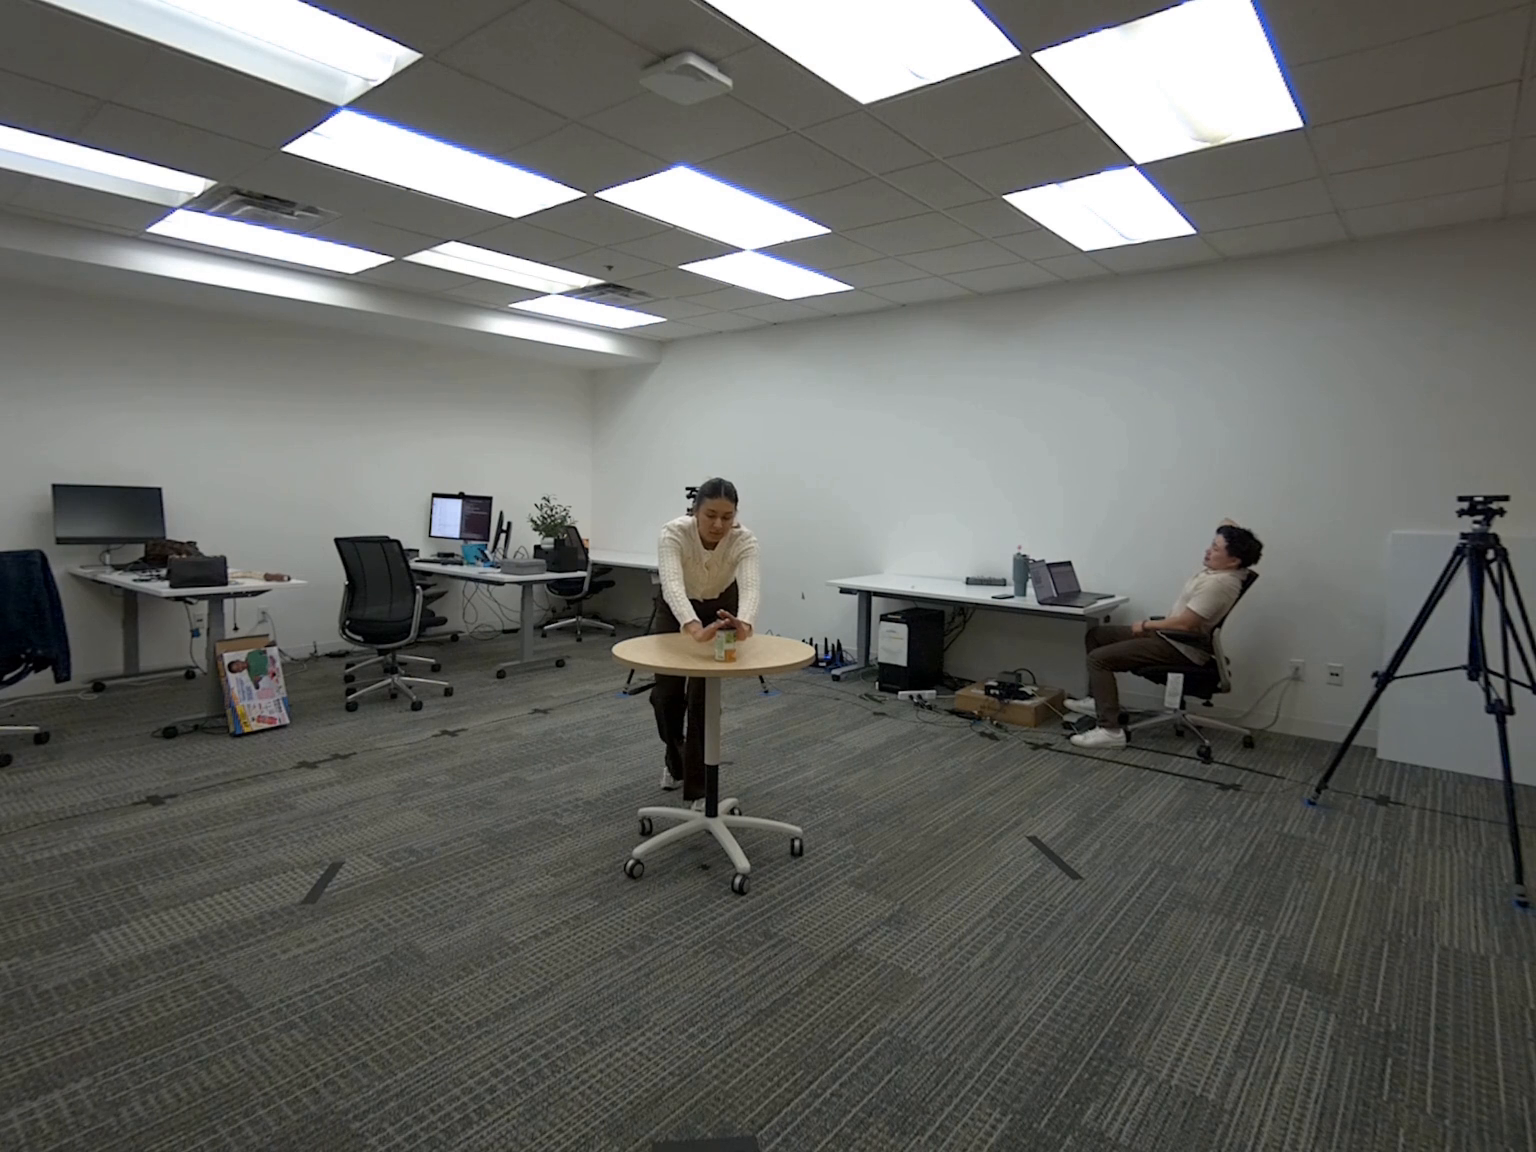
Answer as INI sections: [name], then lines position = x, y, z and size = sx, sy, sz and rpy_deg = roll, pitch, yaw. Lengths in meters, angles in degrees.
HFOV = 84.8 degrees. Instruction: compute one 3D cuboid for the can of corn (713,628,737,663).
[can of corn]
position = -0.157, 0.240, 2.984
size = 0.074, 0.111, 0.074
rpy_deg = 1, 2, -2
